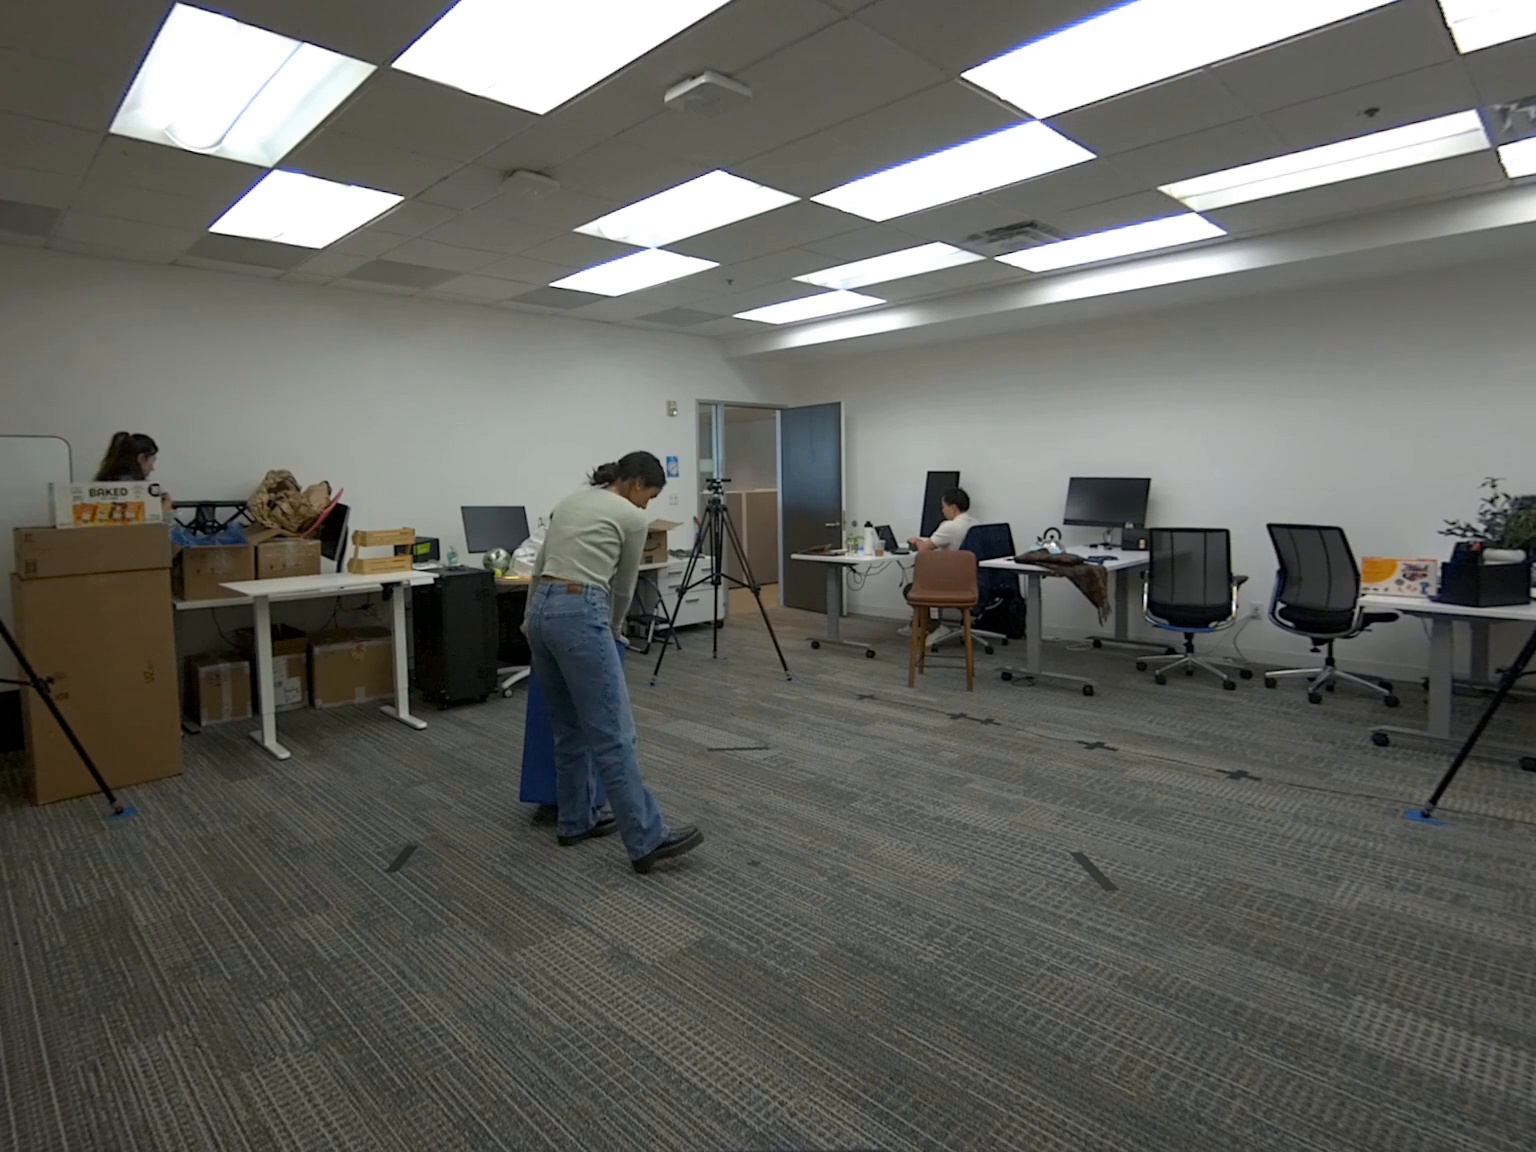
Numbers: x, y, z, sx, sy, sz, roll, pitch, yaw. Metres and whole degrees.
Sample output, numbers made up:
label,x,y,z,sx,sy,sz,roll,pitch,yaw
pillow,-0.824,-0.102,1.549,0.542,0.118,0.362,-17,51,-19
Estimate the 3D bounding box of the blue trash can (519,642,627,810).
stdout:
label,x,y,z,sx,sy,sz,roll,pitch,yaw
blue trash can,-0.825,0.608,3.679,0.381,0.722,0.367,2,-13,6
